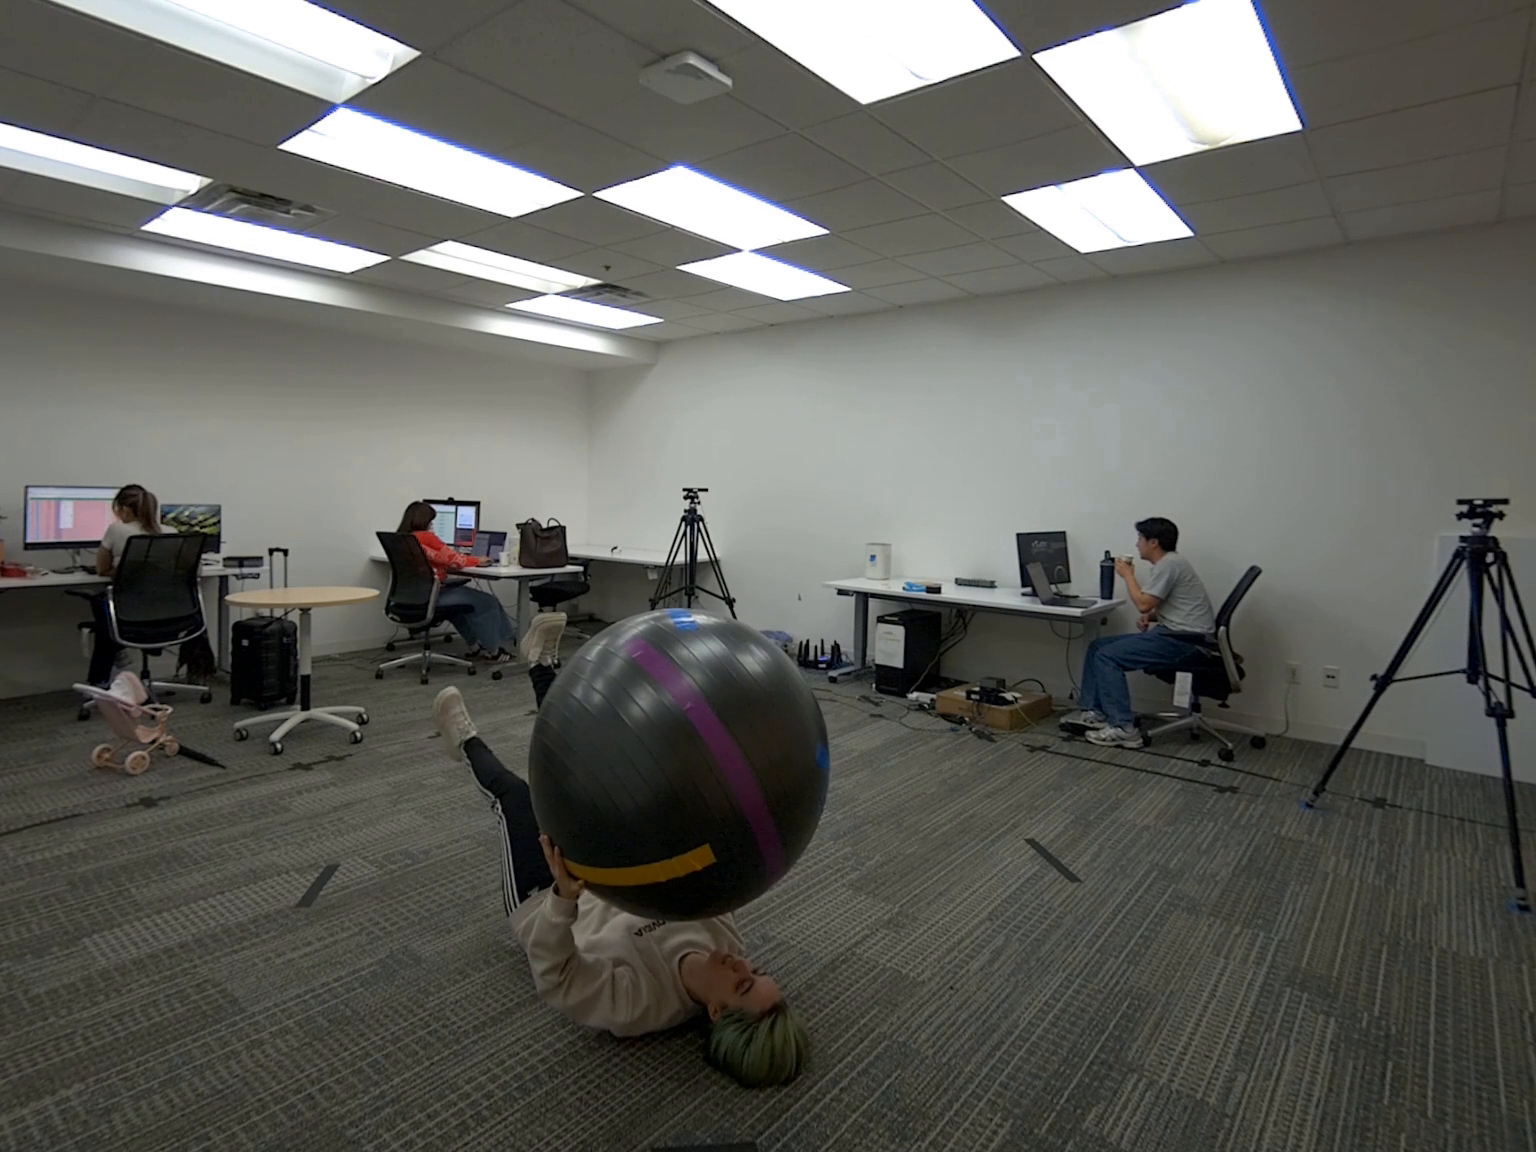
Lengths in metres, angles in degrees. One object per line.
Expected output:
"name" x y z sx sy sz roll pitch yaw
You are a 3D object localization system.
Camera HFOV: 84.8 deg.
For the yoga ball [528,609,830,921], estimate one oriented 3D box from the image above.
"yoga ball" -0.228 0.464 2.158 0.757 0.755 0.762 1 4 -2
